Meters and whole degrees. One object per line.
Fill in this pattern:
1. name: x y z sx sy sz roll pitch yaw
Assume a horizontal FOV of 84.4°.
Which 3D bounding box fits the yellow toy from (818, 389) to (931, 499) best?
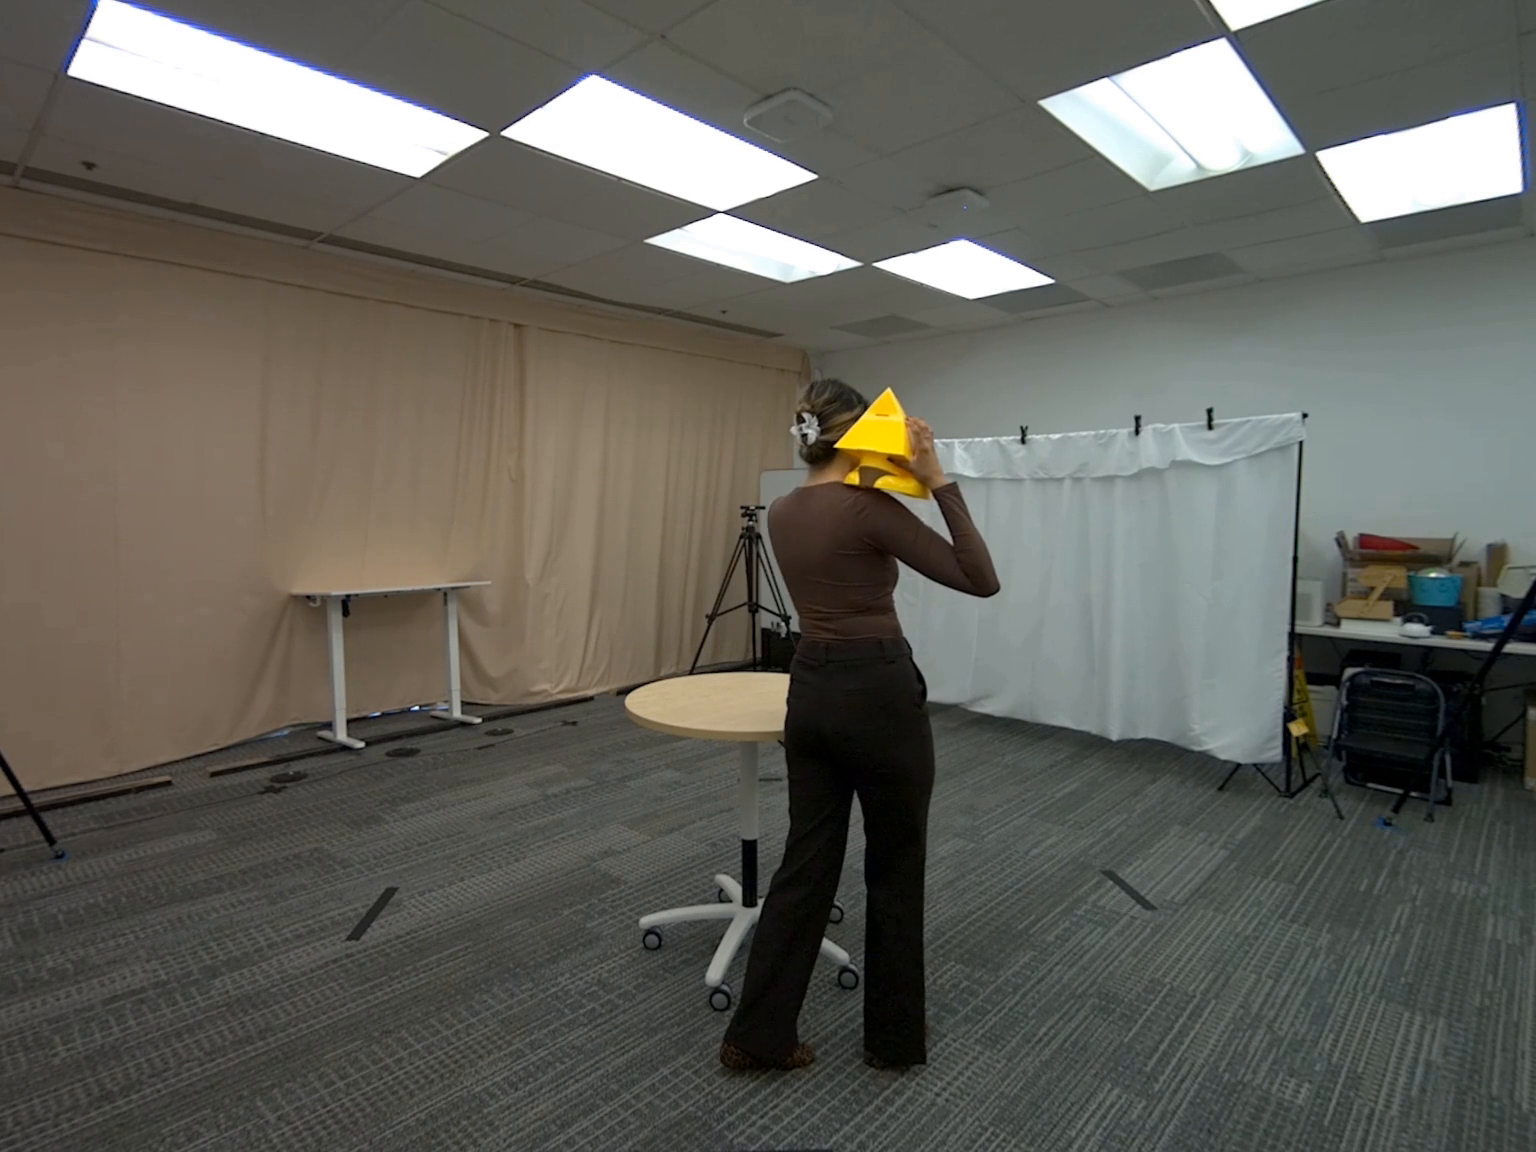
1. yellow toy: 0.299 -0.312 1.963 0.186 0.230 0.212 8 4 -45
